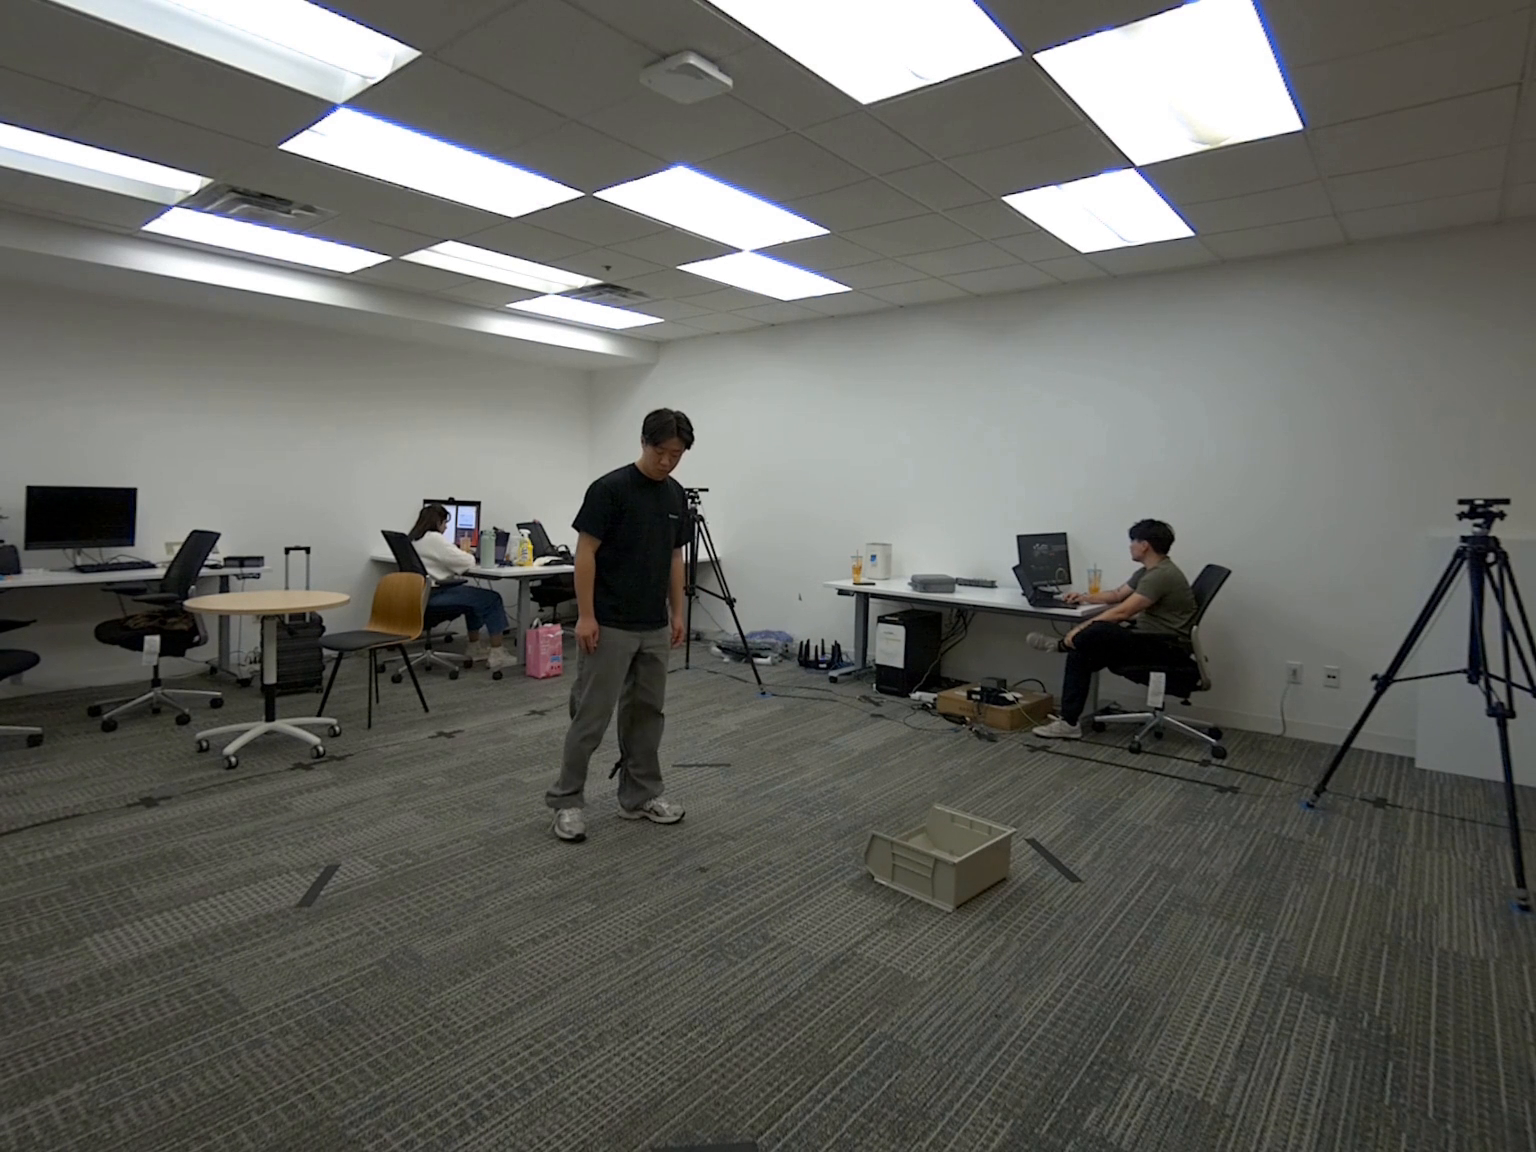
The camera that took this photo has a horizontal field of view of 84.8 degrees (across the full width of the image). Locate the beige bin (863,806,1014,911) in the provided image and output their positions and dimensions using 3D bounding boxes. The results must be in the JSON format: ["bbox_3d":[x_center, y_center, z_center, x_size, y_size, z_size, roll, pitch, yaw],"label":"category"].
[{"bbox_3d":[0.615,1.001,3.088,0.391,0.188,0.409,8,8,44],"label":"beige bin"}]
